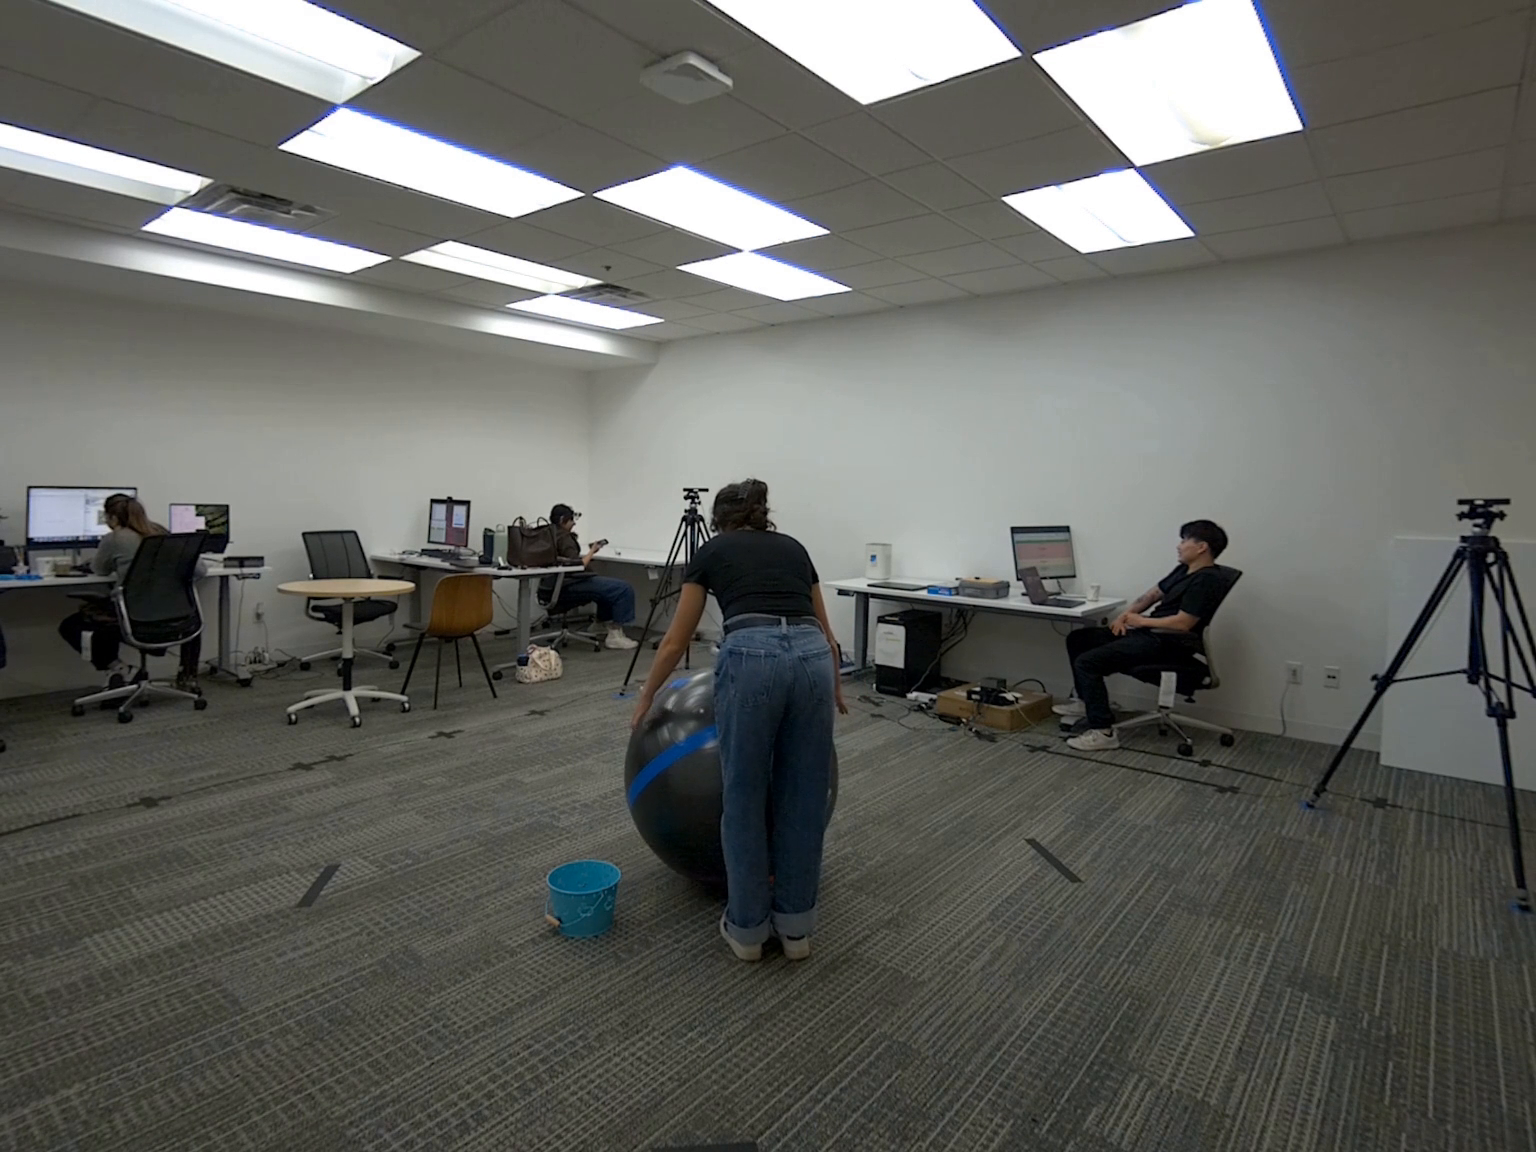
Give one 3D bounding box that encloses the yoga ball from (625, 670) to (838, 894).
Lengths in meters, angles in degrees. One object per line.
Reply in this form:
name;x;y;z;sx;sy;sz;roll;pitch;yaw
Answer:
yoga ball;-0.133;0.693;3.022;0.757;0.755;0.762;1;4;-2
